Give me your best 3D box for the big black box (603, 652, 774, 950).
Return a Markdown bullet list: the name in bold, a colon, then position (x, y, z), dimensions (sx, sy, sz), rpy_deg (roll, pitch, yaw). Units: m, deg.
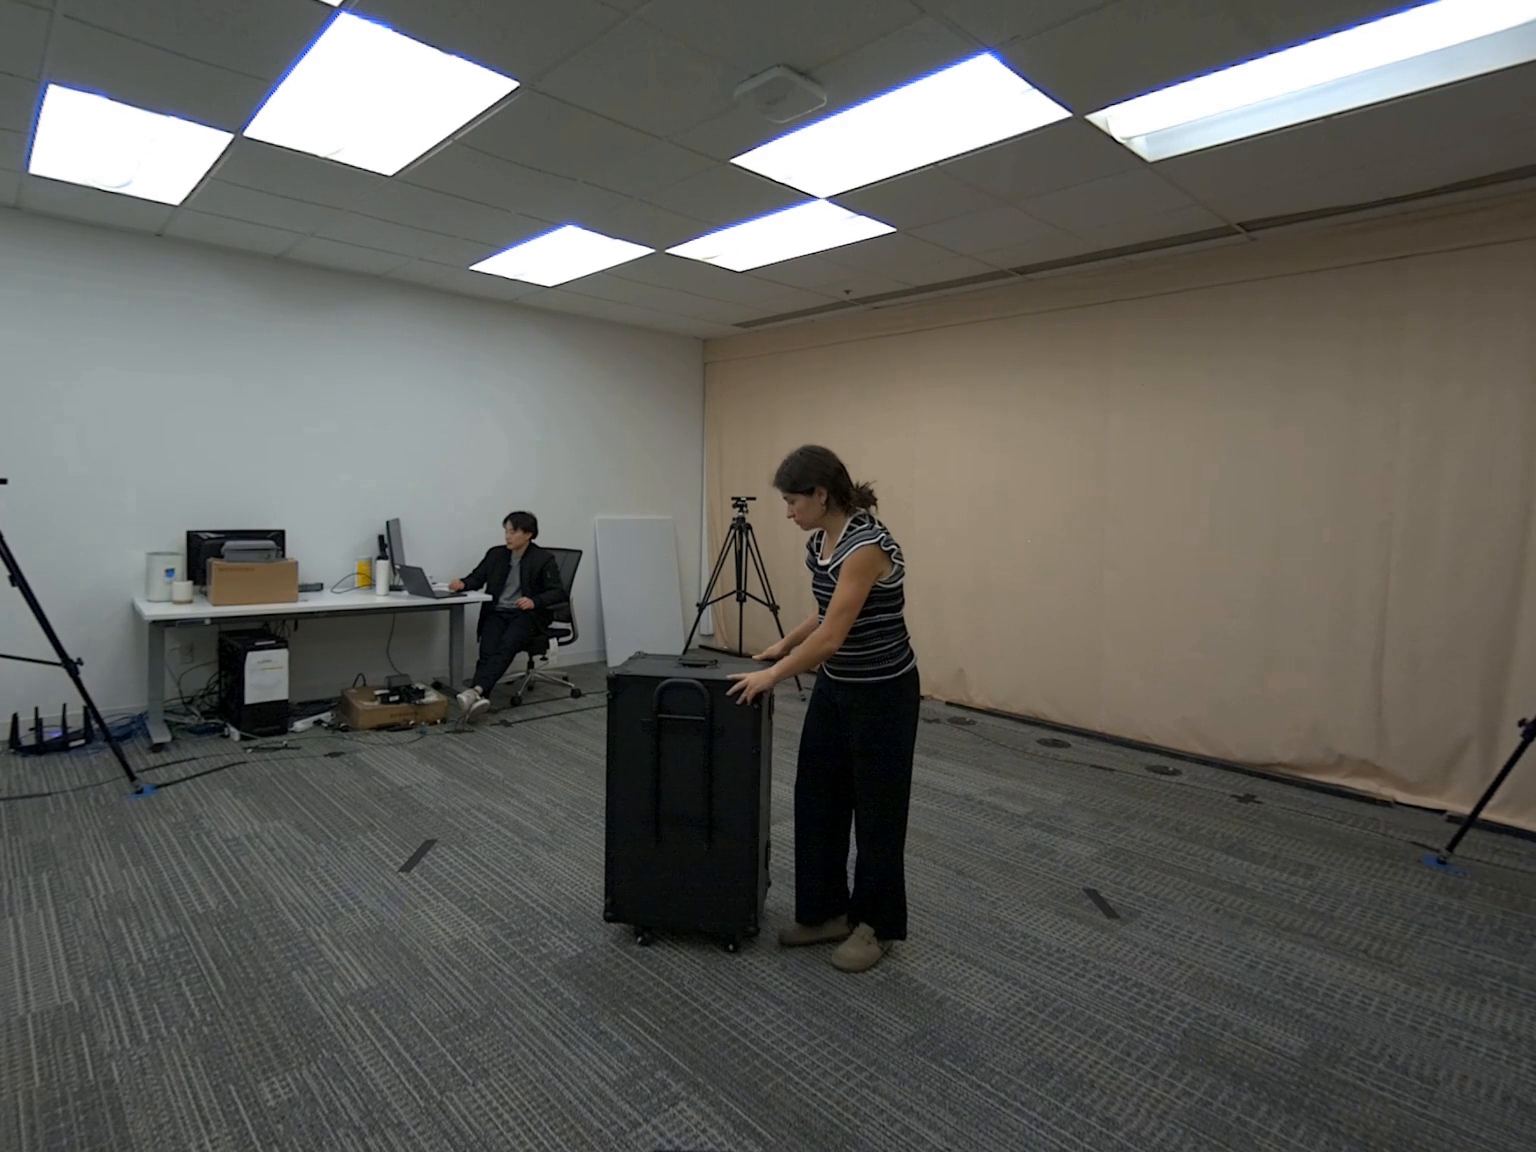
- **big black box**: position (-0.246, 0.718, 2.713), dimensions (0.525, 0.859, 0.395), rpy_deg (2, 4, 7)
